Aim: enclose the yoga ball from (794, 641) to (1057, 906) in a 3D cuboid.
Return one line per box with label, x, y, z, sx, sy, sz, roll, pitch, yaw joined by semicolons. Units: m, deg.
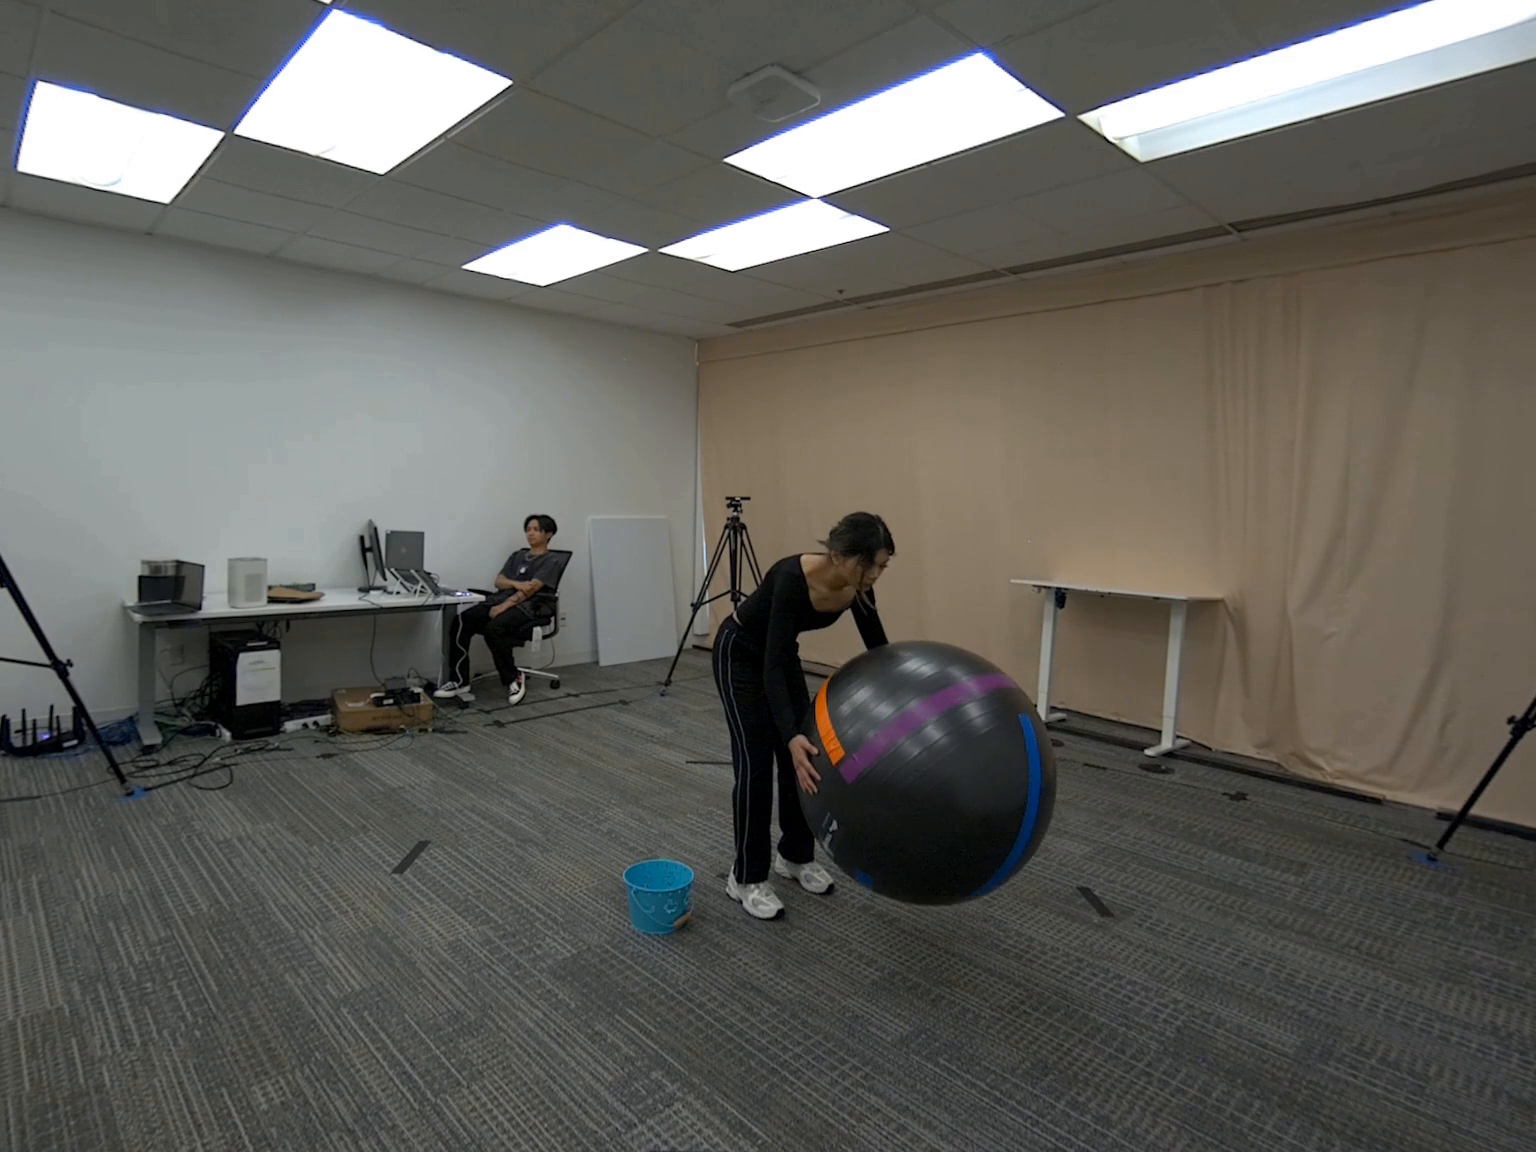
yoga ball;0.463;0.577;2.495;0.757;0.756;0.761;1;4;-1
